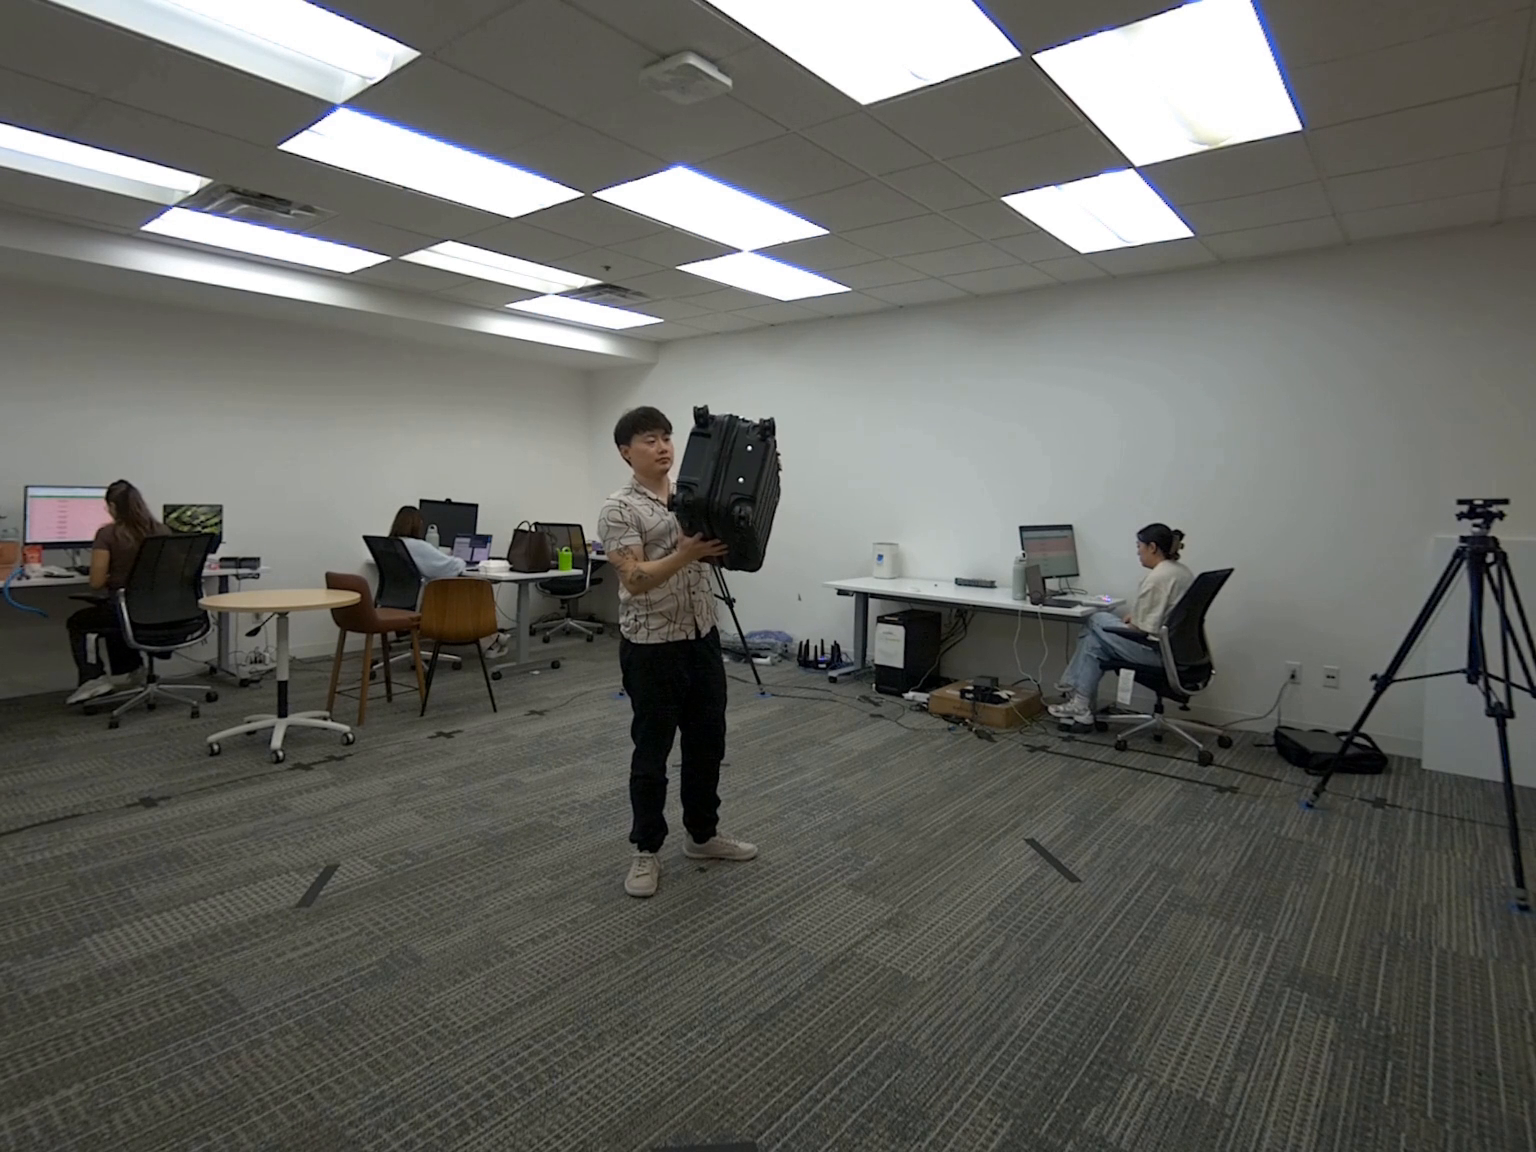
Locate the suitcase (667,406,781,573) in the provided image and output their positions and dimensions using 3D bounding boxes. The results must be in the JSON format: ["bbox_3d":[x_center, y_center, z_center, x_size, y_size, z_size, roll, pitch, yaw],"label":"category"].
[{"bbox_3d":[-0.123,-0.261,2.676,0.251,0.380,0.536,11,-19,8],"label":"suitcase"}]
